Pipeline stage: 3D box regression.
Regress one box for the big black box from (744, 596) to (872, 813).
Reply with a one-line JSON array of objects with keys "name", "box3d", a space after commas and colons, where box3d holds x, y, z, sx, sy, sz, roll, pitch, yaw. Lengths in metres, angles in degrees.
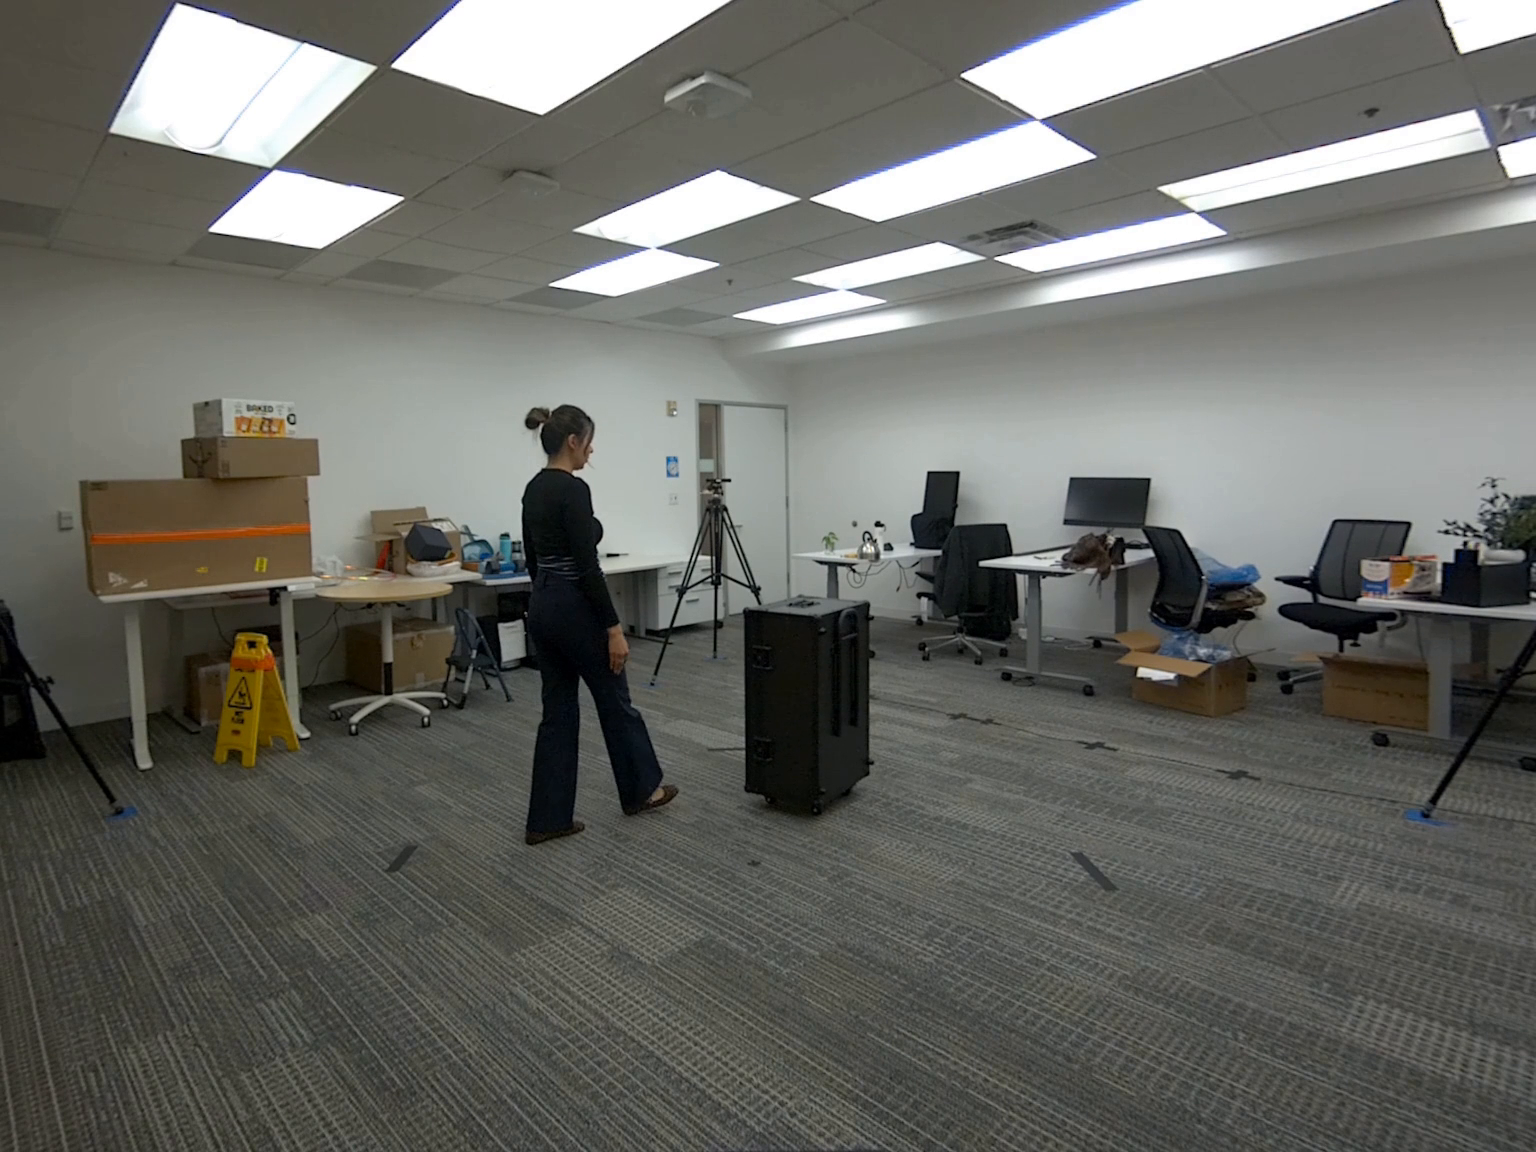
[{"name": "big black box", "box3d": [0.196, 0.552, 3.706, 0.407, 0.858, 0.509, 3, 6, 31]}]
